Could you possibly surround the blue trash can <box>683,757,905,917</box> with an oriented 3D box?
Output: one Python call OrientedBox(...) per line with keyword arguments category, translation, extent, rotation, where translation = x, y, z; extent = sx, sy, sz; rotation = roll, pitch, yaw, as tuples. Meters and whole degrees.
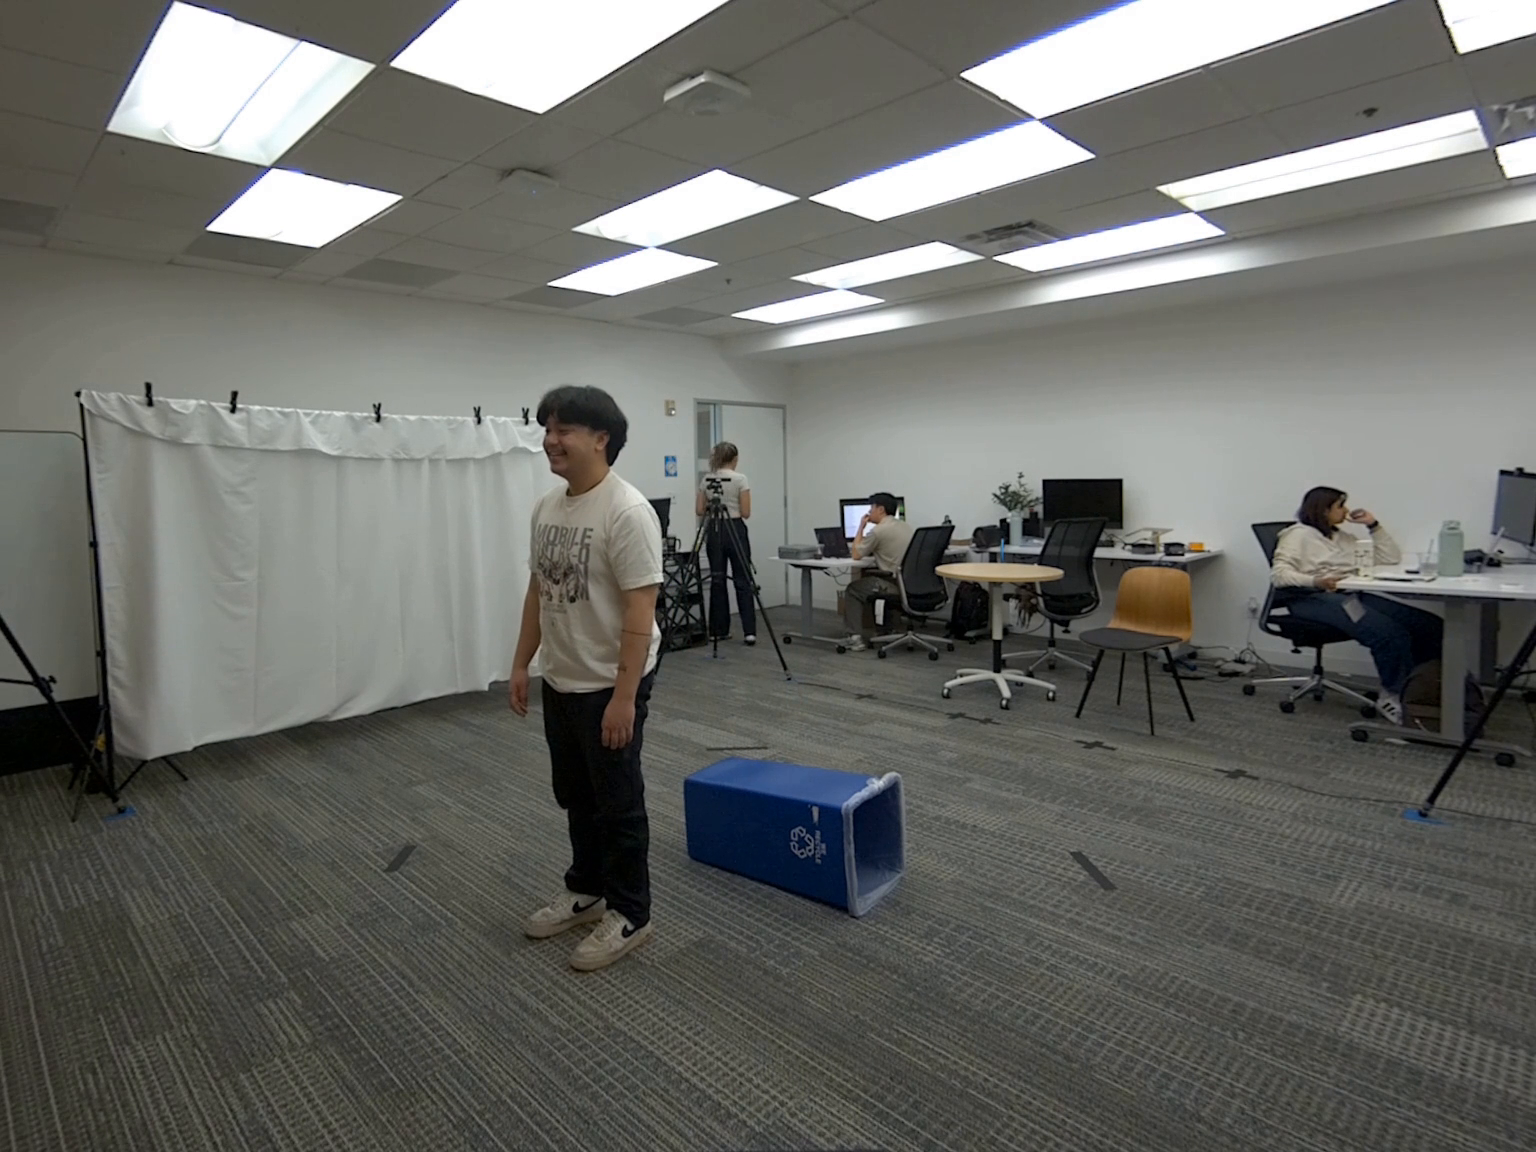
OrientedBox(category="blue trash can", translation=(0.079, 0.881, 3.045), extent=(0.733, 0.373, 0.369), rotation=(-1, 5, 37))
